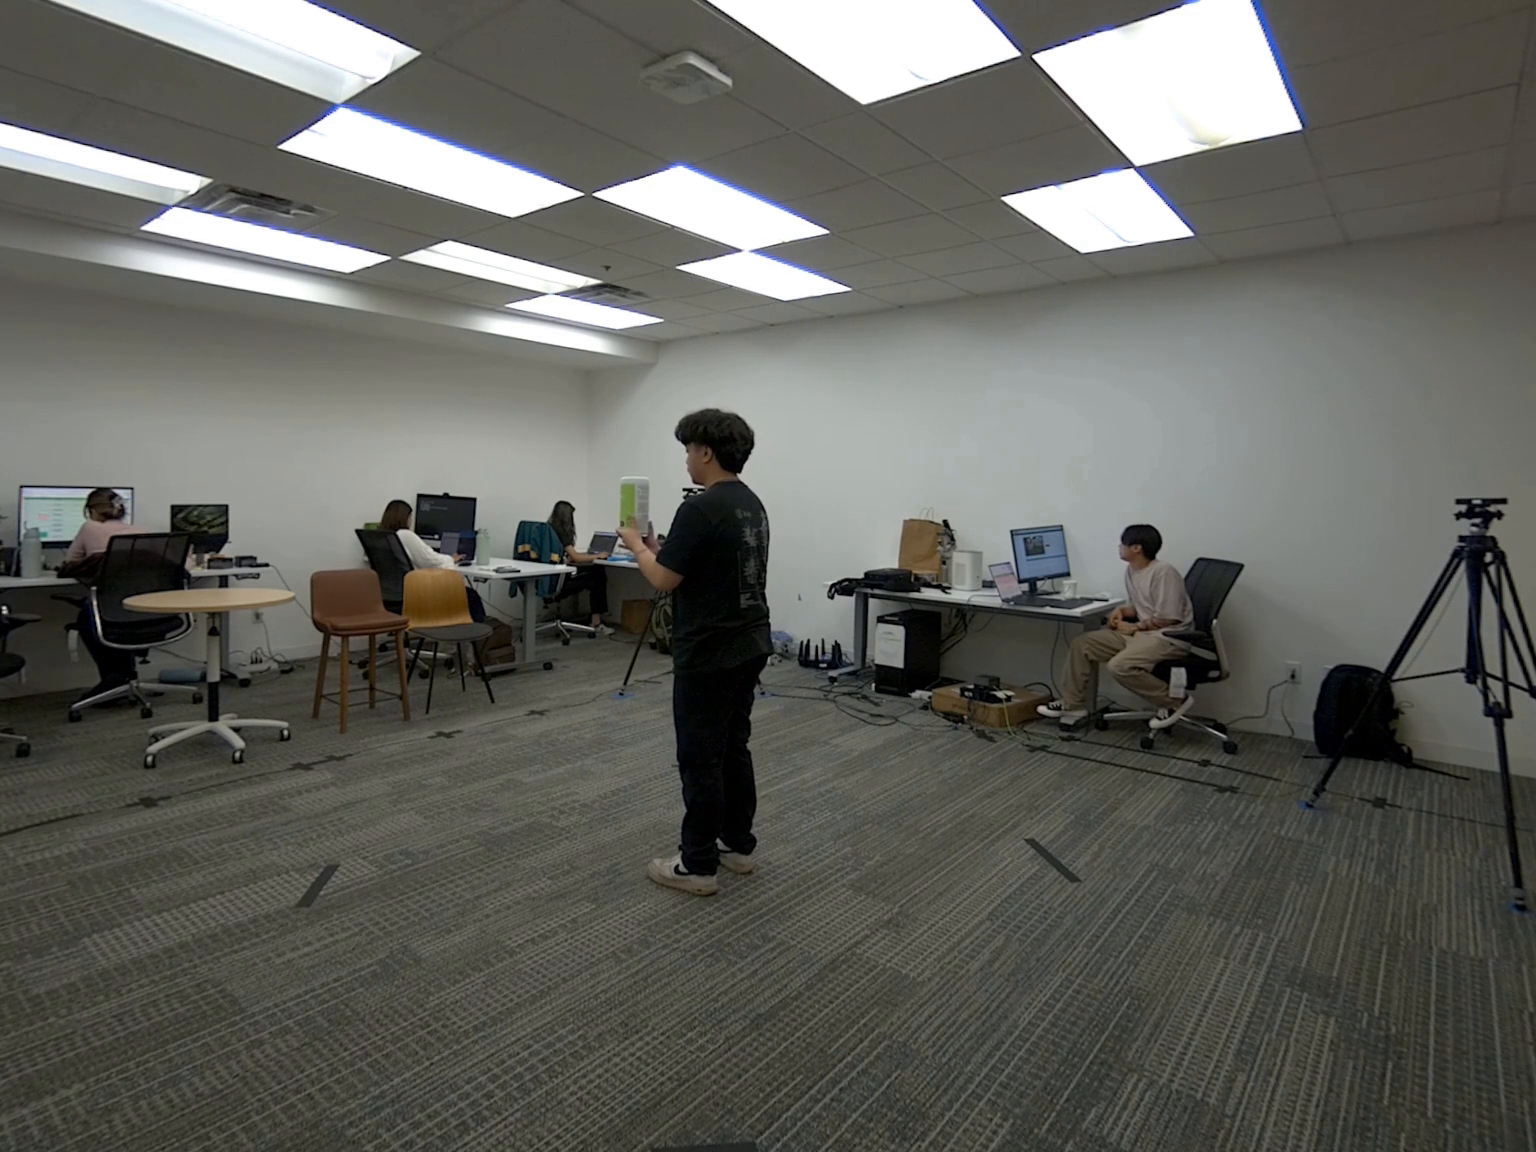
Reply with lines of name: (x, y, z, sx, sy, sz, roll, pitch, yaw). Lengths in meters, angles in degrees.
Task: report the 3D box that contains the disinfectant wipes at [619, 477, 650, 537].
disinfectant wipes: (-0.513, -0.266, 3.221, 0.118, 0.217, 0.118, 1, 1, -2)
